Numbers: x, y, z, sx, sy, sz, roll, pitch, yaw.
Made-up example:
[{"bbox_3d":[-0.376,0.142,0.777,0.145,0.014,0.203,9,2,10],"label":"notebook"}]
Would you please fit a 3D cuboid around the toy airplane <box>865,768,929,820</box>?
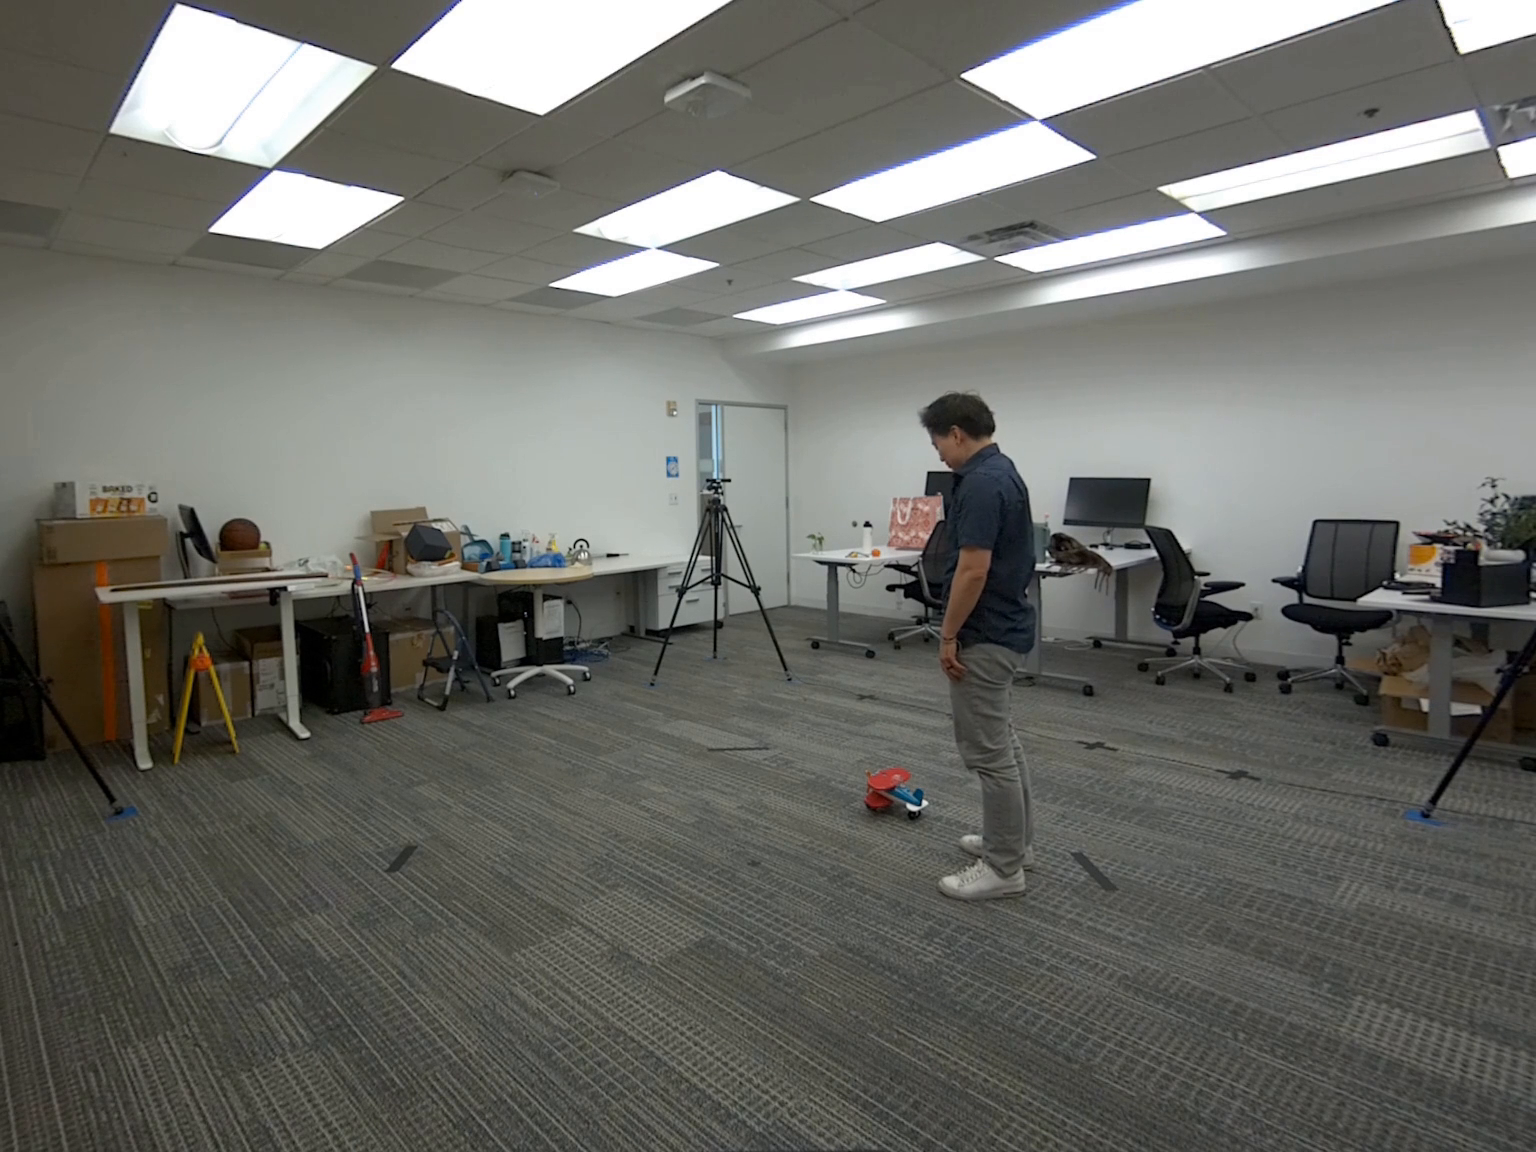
[{"bbox_3d":[0.537,0.907,3.571,0.263,0.156,0.248,0,4,16],"label":"toy airplane"}]
